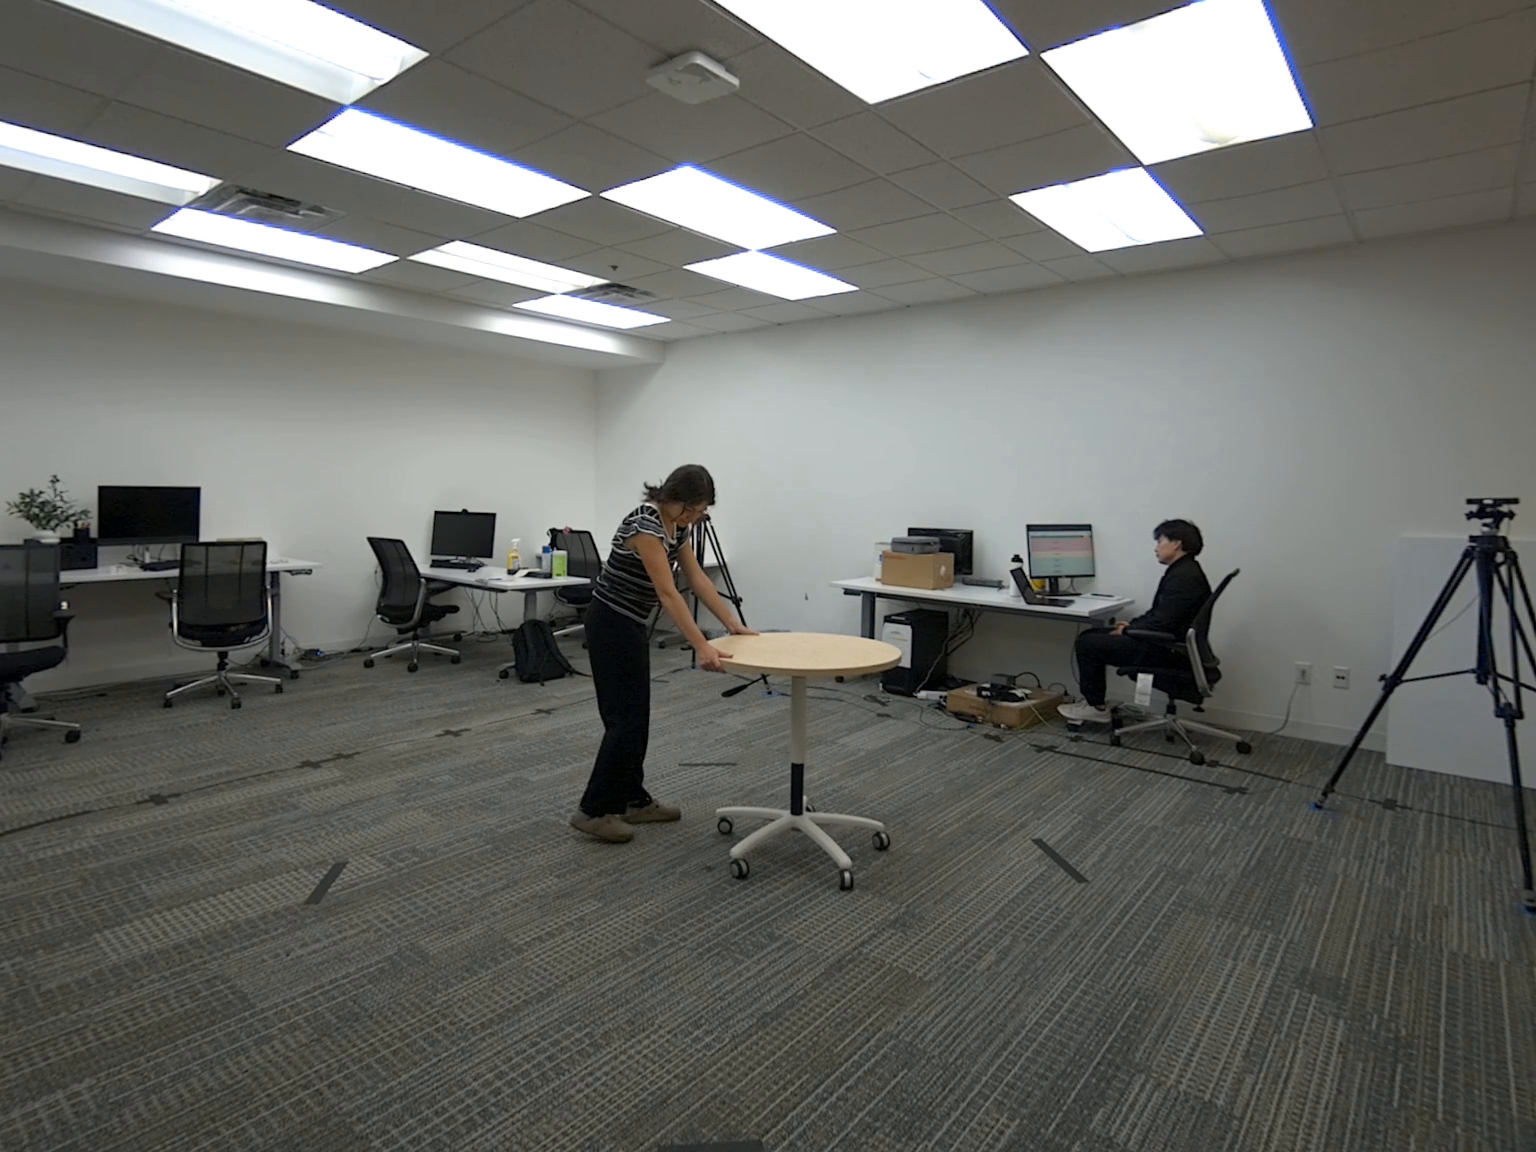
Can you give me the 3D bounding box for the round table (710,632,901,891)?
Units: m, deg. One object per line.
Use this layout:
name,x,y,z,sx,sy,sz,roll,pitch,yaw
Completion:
round table,0.112,0.670,3.269,0.763,0.791,0.768,1,4,-2
